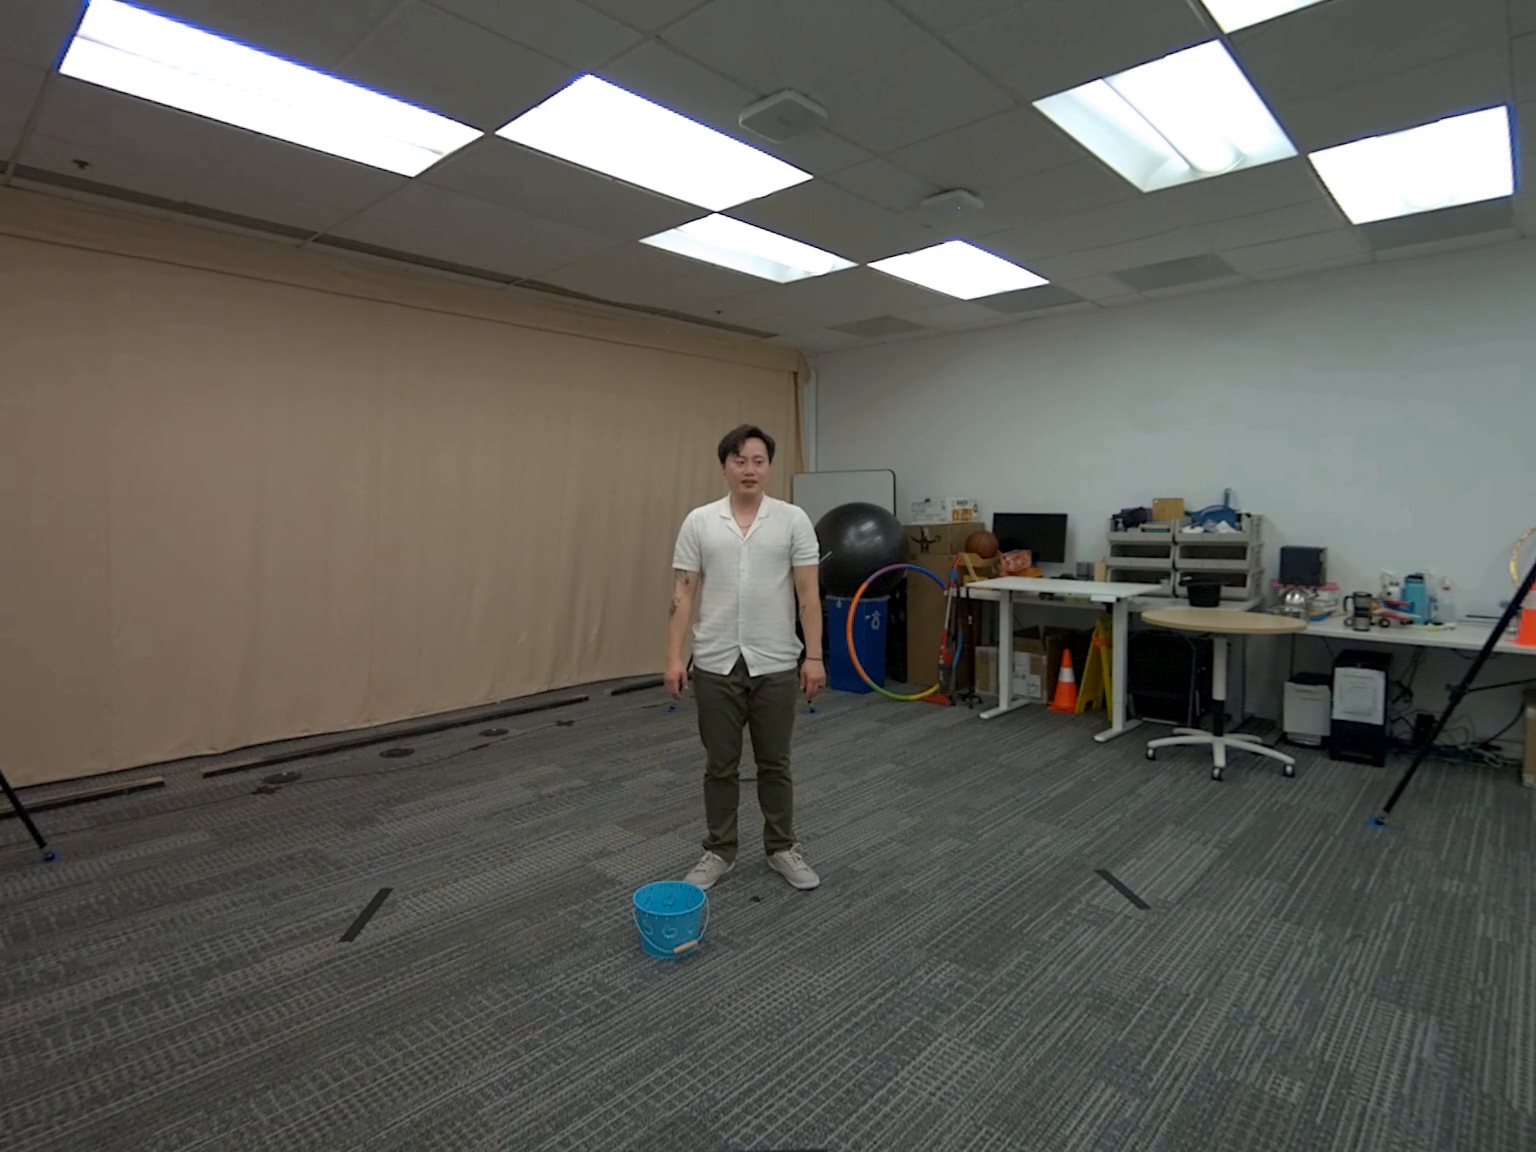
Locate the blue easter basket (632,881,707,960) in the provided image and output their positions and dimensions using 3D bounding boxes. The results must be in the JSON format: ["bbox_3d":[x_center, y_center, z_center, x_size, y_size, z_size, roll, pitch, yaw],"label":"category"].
[{"bbox_3d":[-0.309,1.093,2.670,0.243,0.155,0.244,-1,4,-2],"label":"blue easter basket"}]
